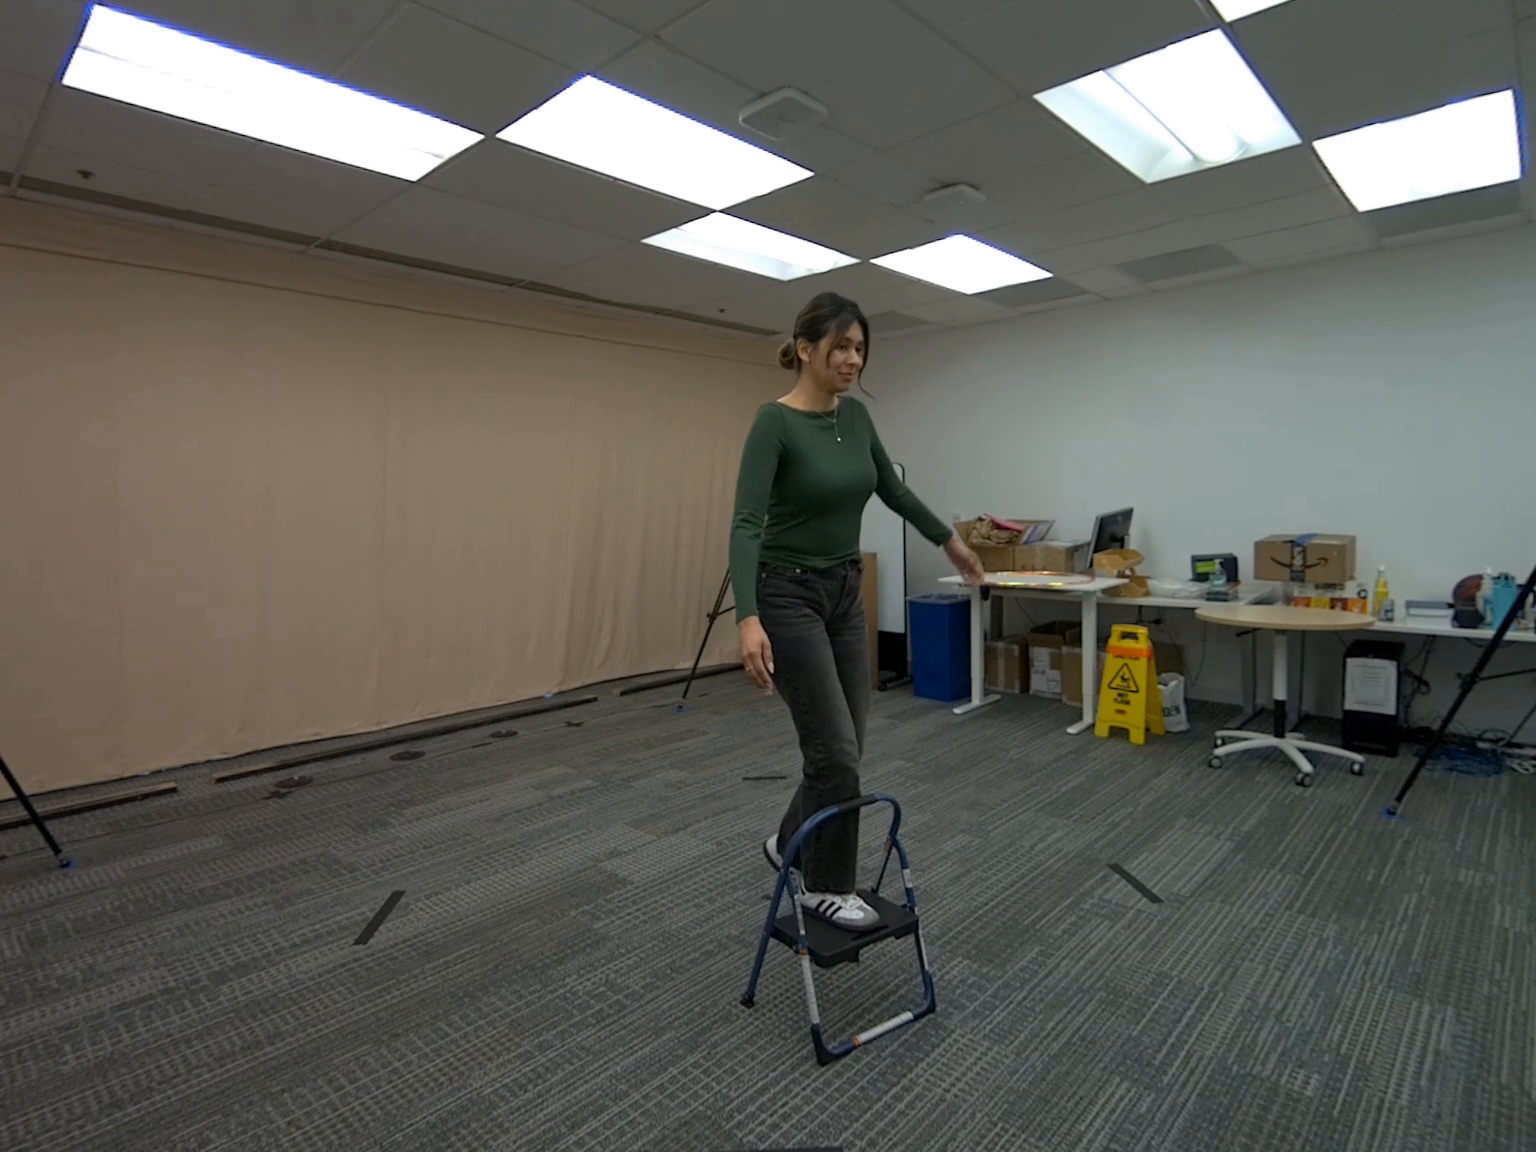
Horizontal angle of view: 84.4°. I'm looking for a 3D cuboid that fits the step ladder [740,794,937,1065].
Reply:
[{"bbox_3d":[0.196,0.892,2.316,0.418,0.605,0.360,-4,4,-36],"label":"step ladder"}]
